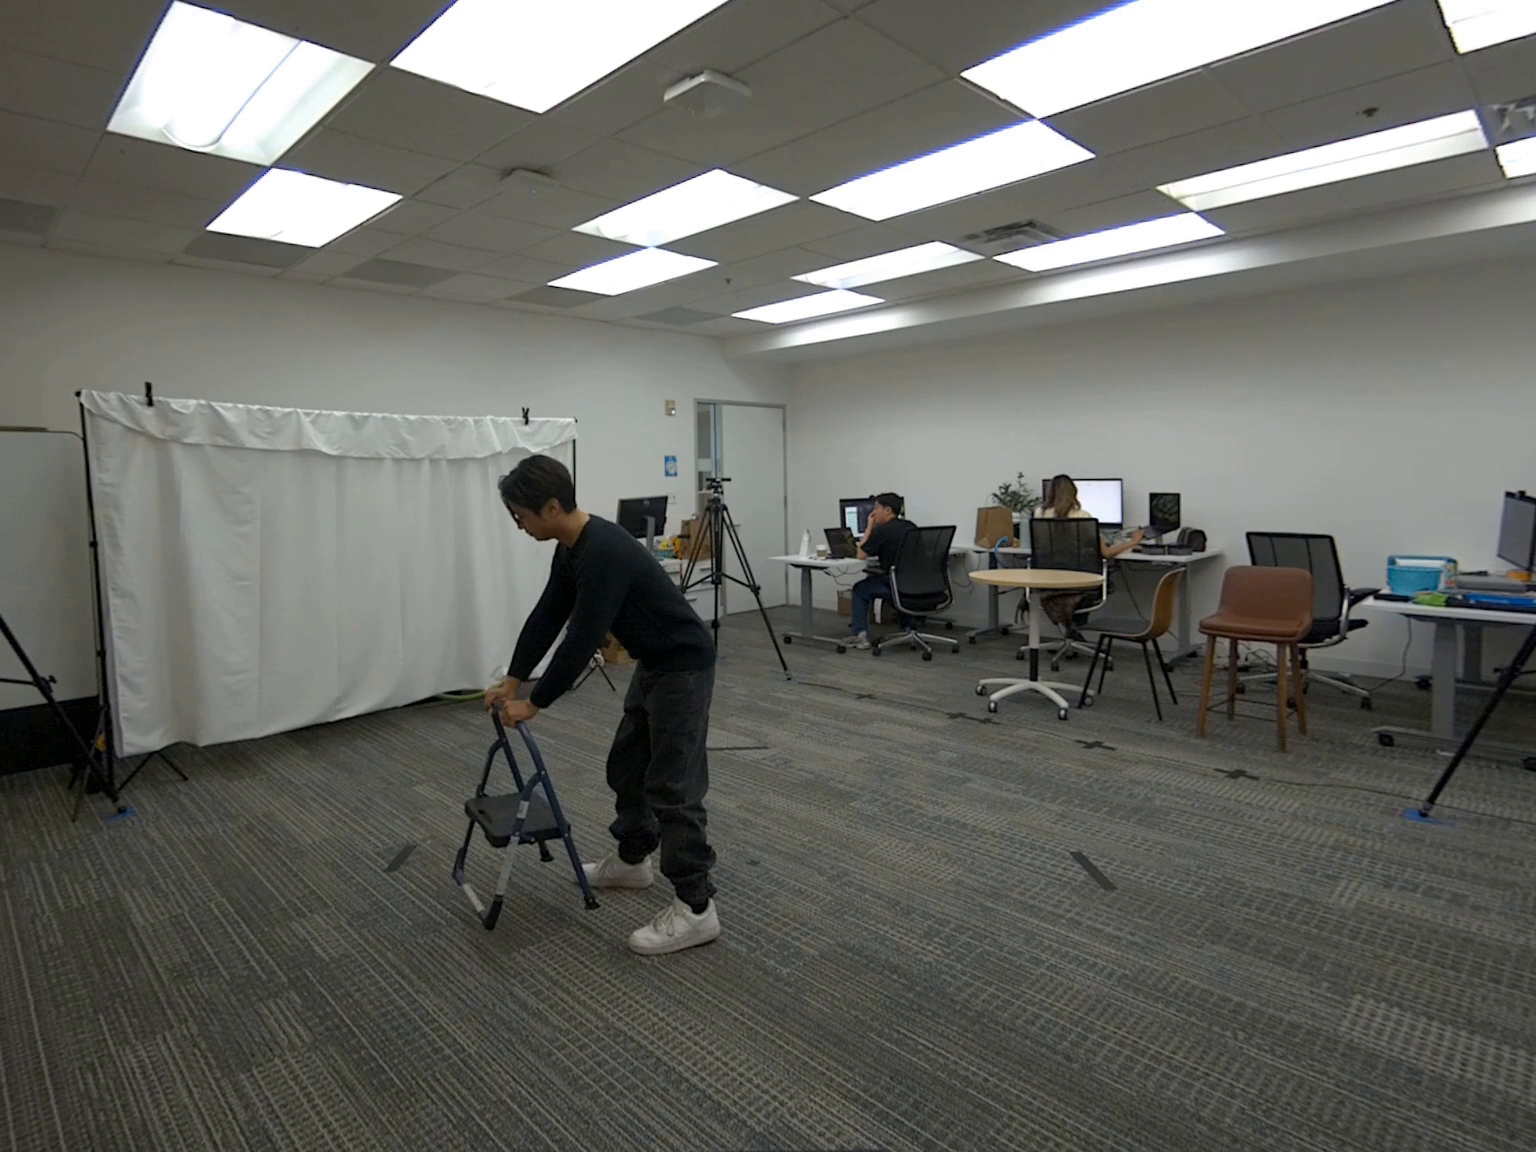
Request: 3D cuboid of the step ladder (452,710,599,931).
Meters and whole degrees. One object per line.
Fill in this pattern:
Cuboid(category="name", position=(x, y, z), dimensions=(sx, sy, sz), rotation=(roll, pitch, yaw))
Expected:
Cuboid(category="step ladder", position=(-0.769, 0.699, 2.697), dimensions=(0.340, 0.605, 0.443), rotation=(1, 3, -34))
